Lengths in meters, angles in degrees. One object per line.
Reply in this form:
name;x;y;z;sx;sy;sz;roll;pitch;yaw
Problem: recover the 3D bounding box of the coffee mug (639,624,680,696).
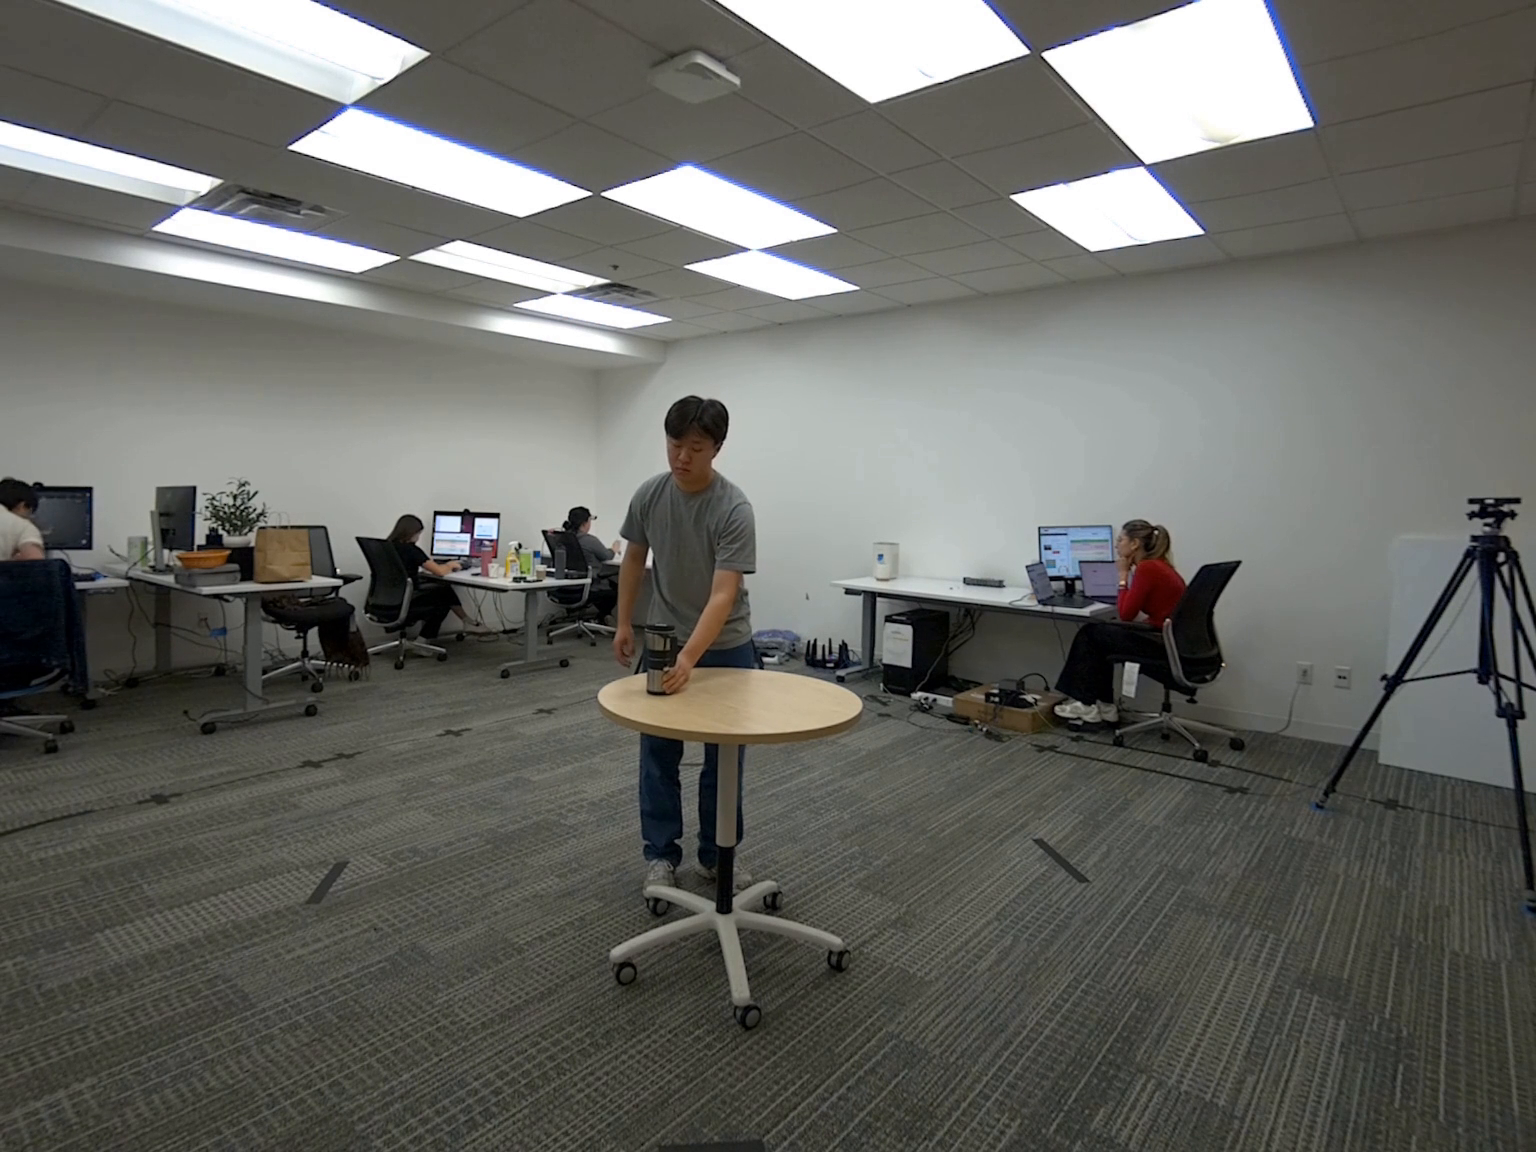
coffee mug;-0.321;0.241;2.470;0.087;0.203;0.123;3;2;-6
